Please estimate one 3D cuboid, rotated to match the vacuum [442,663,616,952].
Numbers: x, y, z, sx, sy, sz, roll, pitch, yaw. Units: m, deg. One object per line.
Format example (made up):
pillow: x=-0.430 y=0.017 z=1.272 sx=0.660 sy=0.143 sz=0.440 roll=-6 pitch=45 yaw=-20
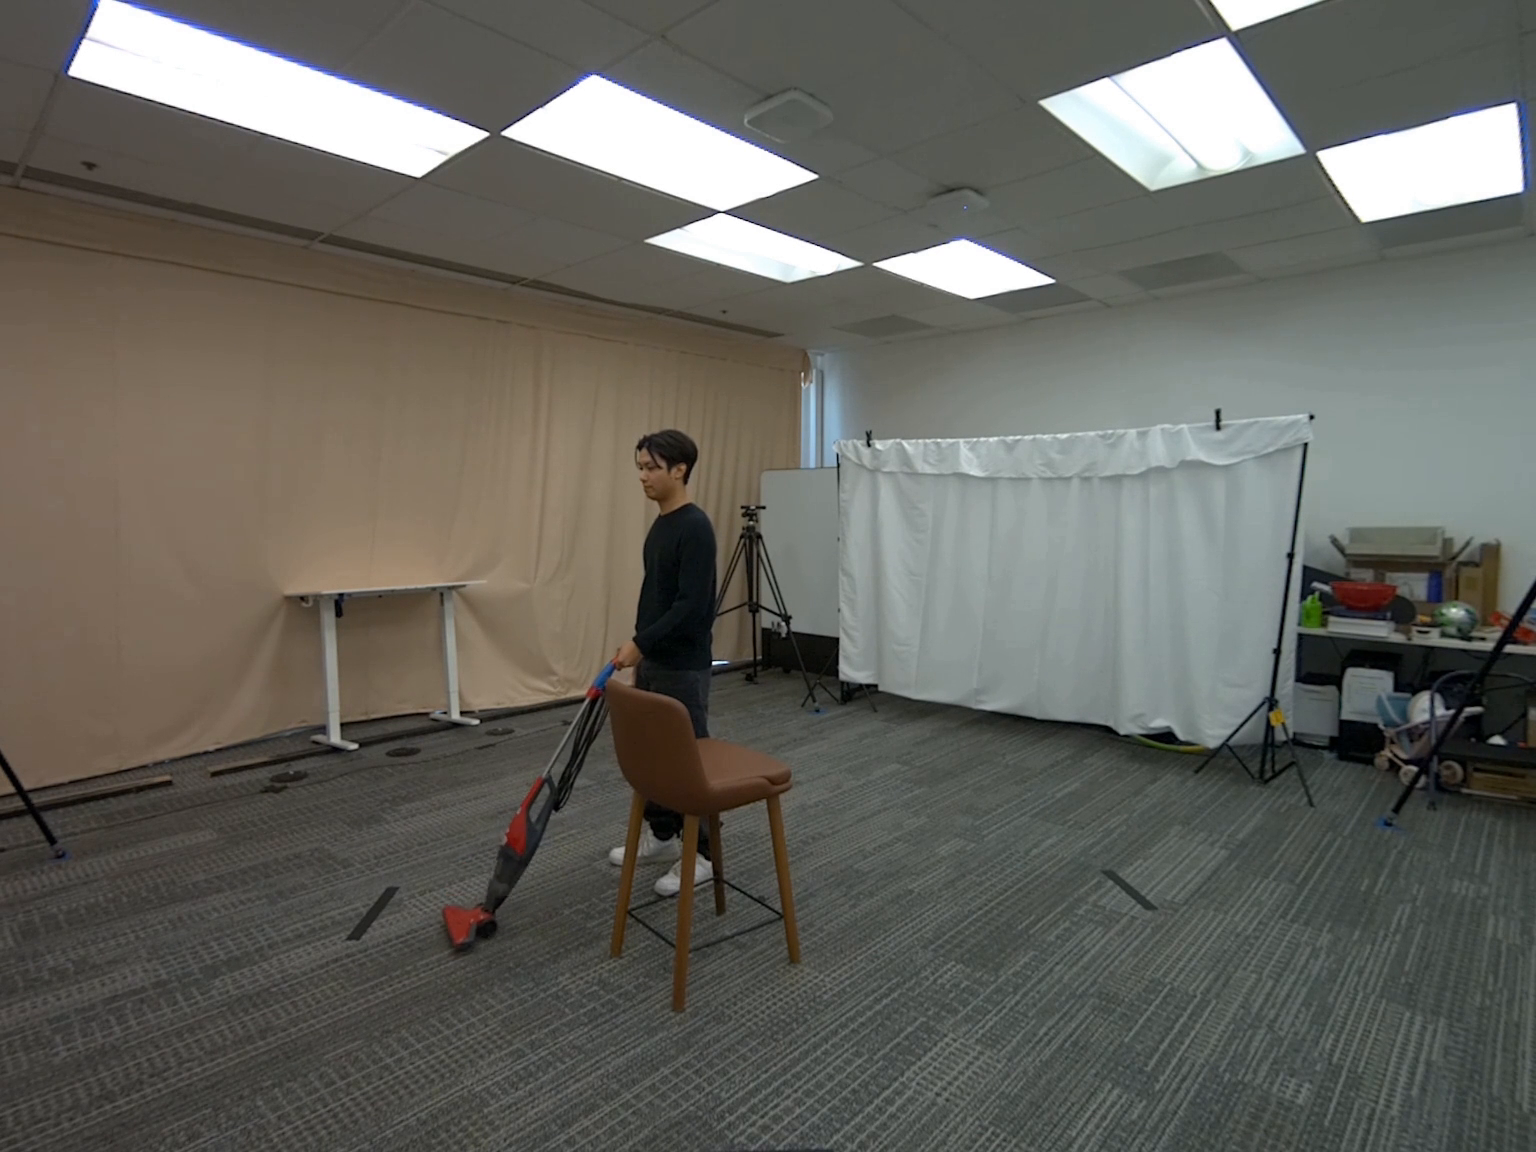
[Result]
vacuum: x=-0.733 y=0.711 z=2.845 sx=0.140 sy=1.049 sz=0.260 roll=36 pitch=-13 yaw=-29
